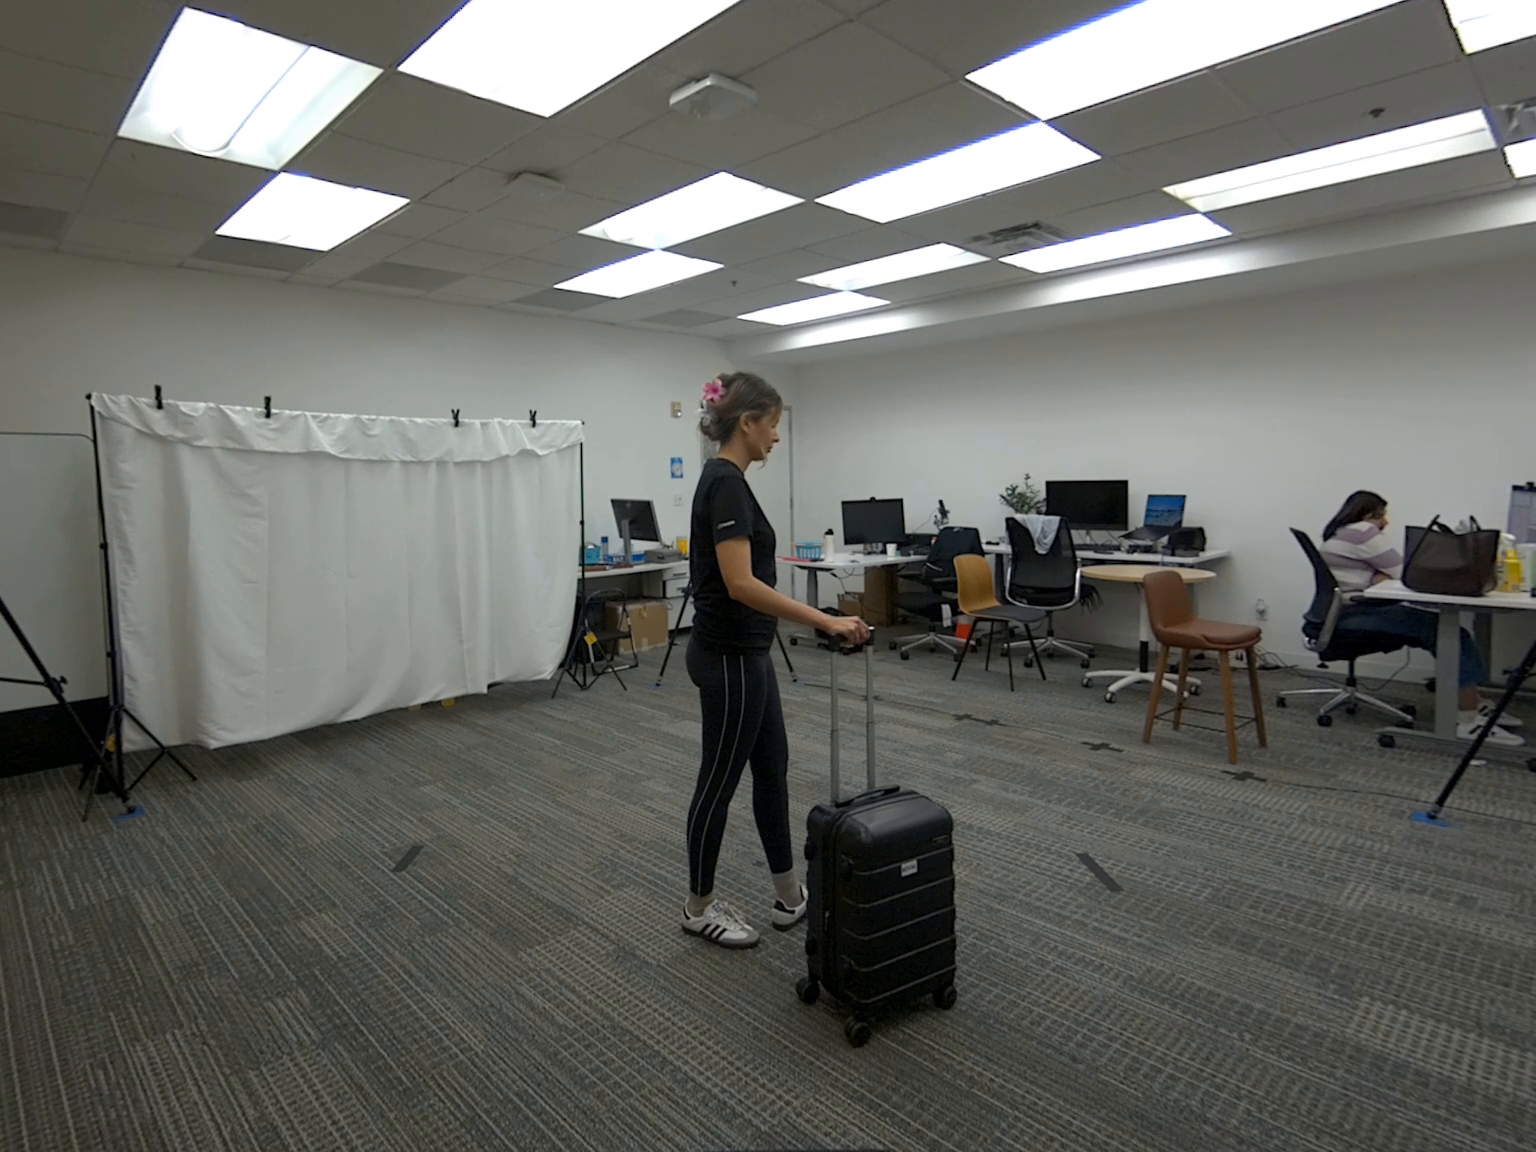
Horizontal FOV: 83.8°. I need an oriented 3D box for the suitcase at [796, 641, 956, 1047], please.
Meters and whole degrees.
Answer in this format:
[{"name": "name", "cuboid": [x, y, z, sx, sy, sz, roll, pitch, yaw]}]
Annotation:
[{"name": "suitcase", "cuboid": [0.307, 0.661, 2.259, 0.374, 0.975, 0.264, -2, 4, -34]}]
